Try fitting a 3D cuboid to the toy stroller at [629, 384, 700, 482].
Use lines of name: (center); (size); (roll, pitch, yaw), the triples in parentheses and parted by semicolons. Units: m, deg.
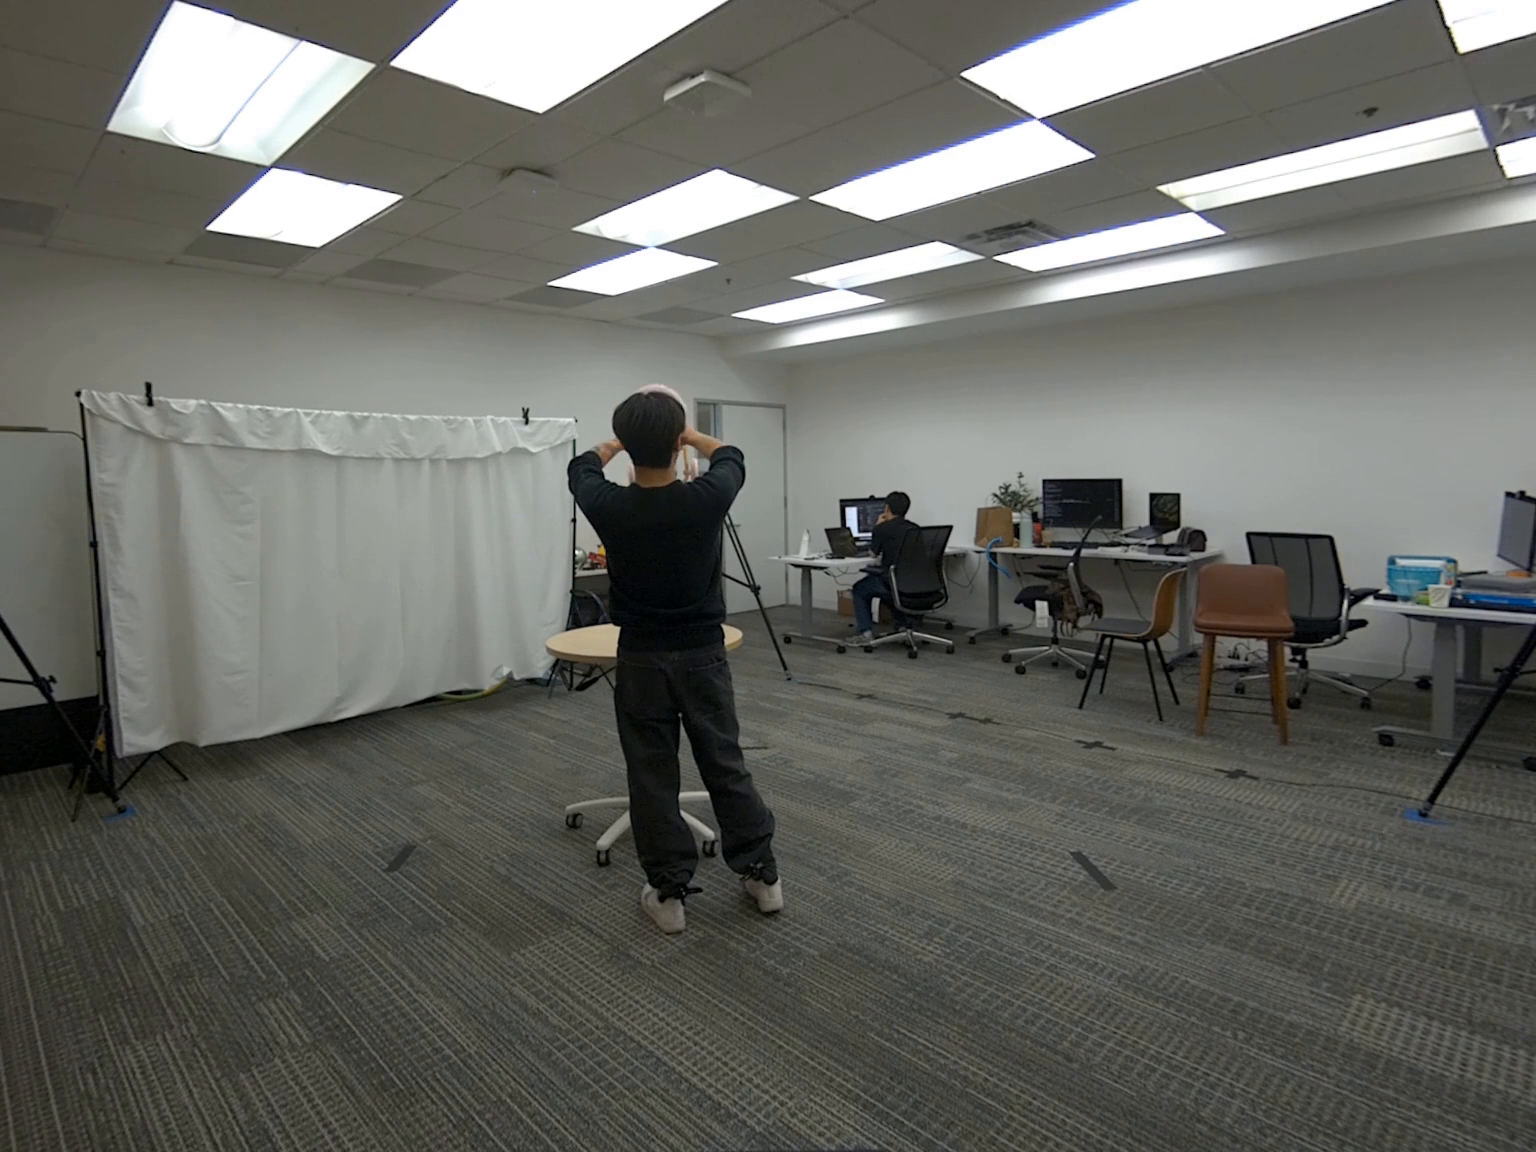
toy stroller: (-0.416, -0.555, 3.310); (0.281, 0.348, 0.524); (-2, -23, -1)
